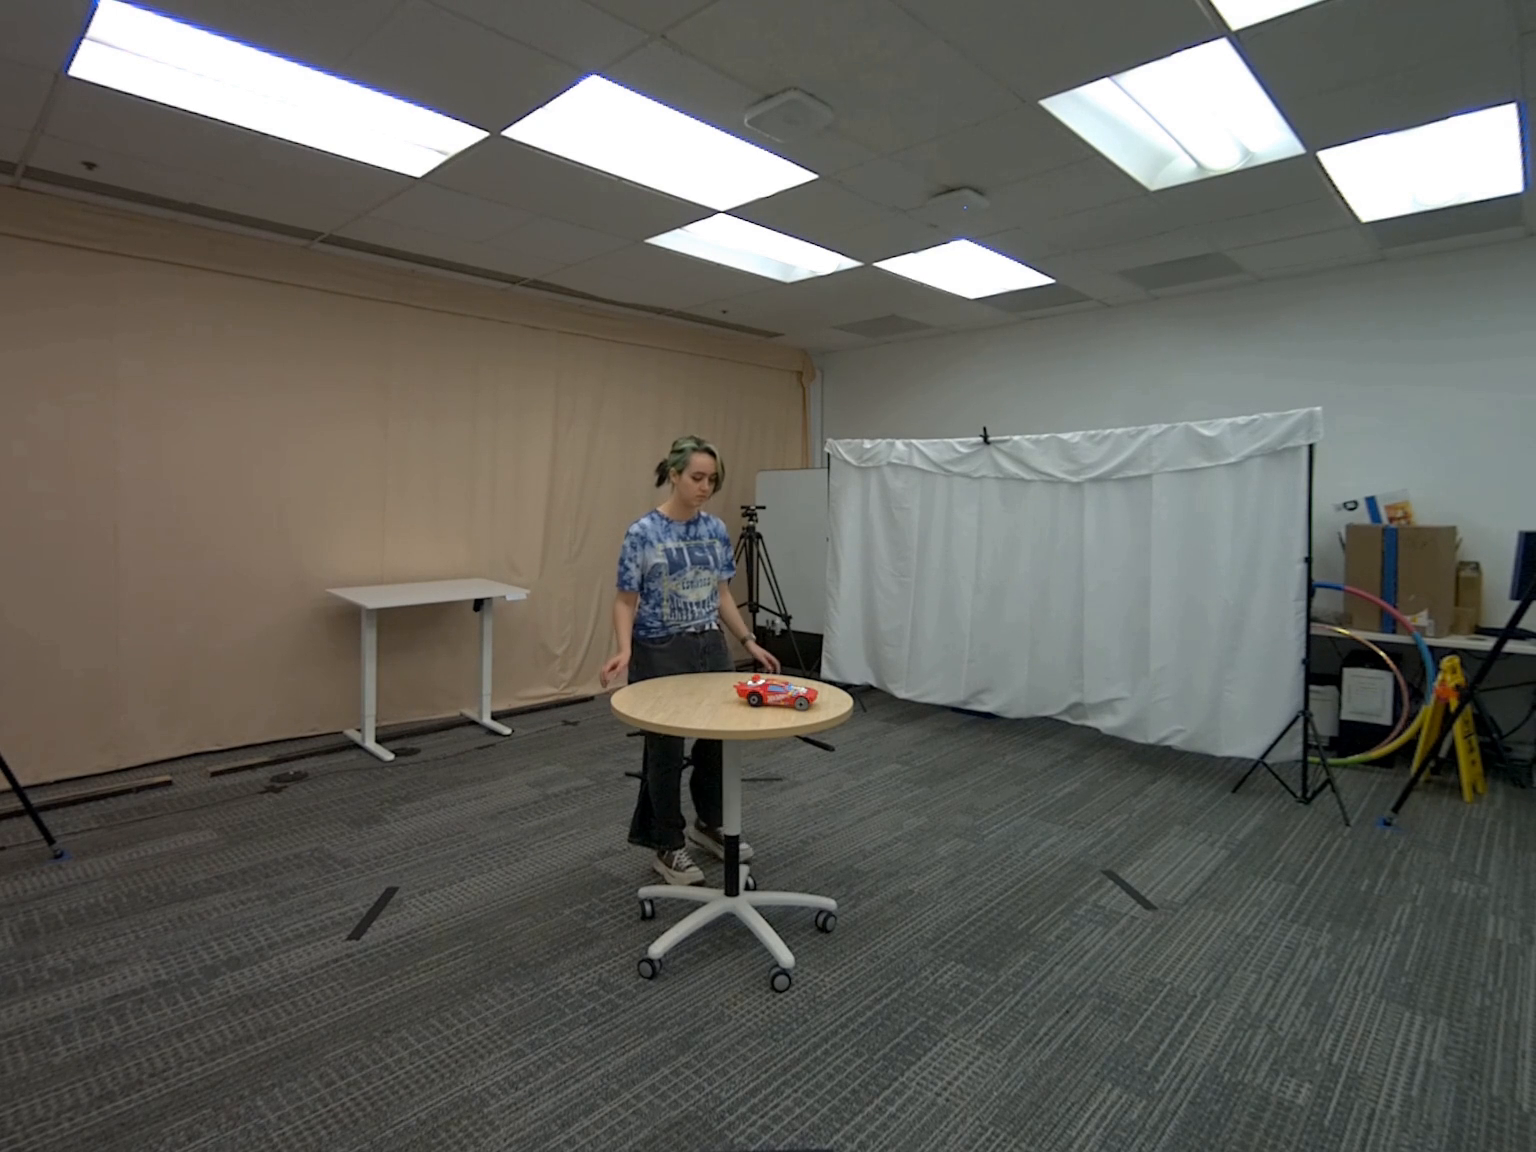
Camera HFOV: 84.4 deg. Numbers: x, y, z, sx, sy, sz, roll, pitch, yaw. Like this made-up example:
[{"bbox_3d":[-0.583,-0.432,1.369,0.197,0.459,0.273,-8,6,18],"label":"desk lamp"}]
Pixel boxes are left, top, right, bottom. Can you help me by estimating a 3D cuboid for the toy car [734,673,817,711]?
[{"bbox_3d":[0.027,0.365,2.579,0.259,0.083,0.128,13,7,16],"label":"toy car"}]
